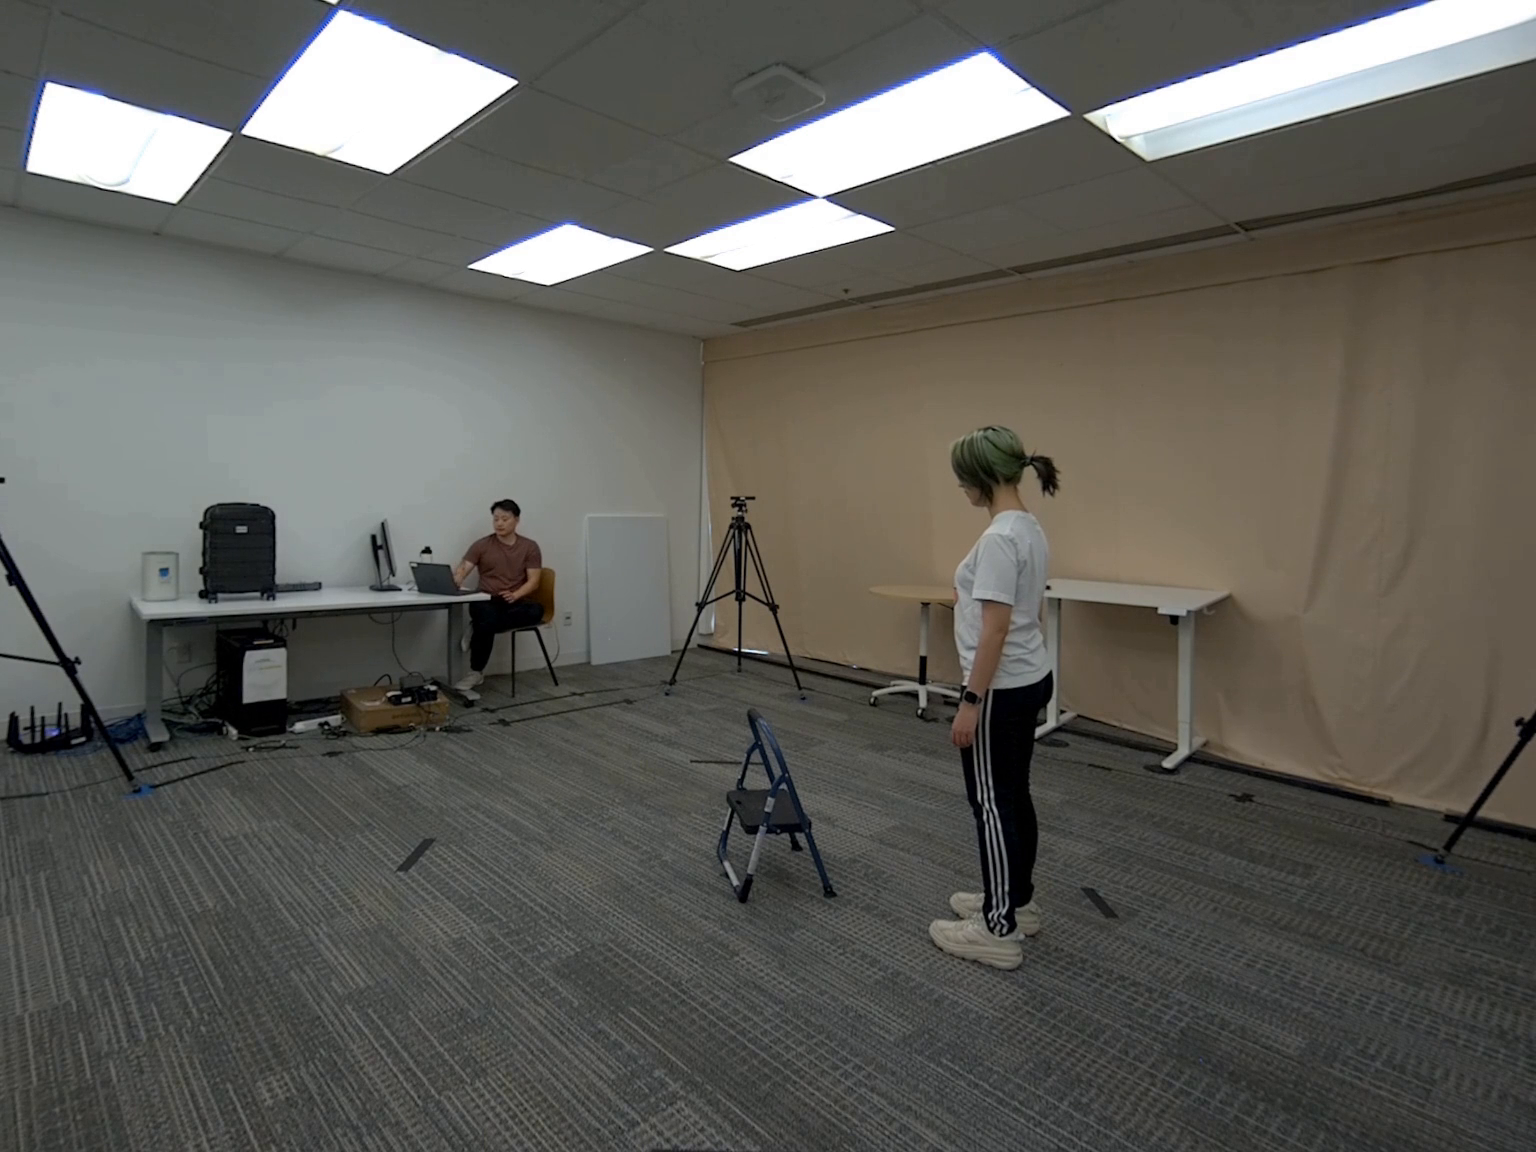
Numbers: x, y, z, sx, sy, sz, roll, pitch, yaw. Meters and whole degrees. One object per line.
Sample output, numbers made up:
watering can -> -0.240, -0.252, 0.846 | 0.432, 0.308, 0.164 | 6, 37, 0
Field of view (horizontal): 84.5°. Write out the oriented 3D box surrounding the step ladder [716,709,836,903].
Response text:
step ladder -> 0.018, 0.806, 3.107 | 0.345, 0.605, 0.436 | 0, 3, -15
